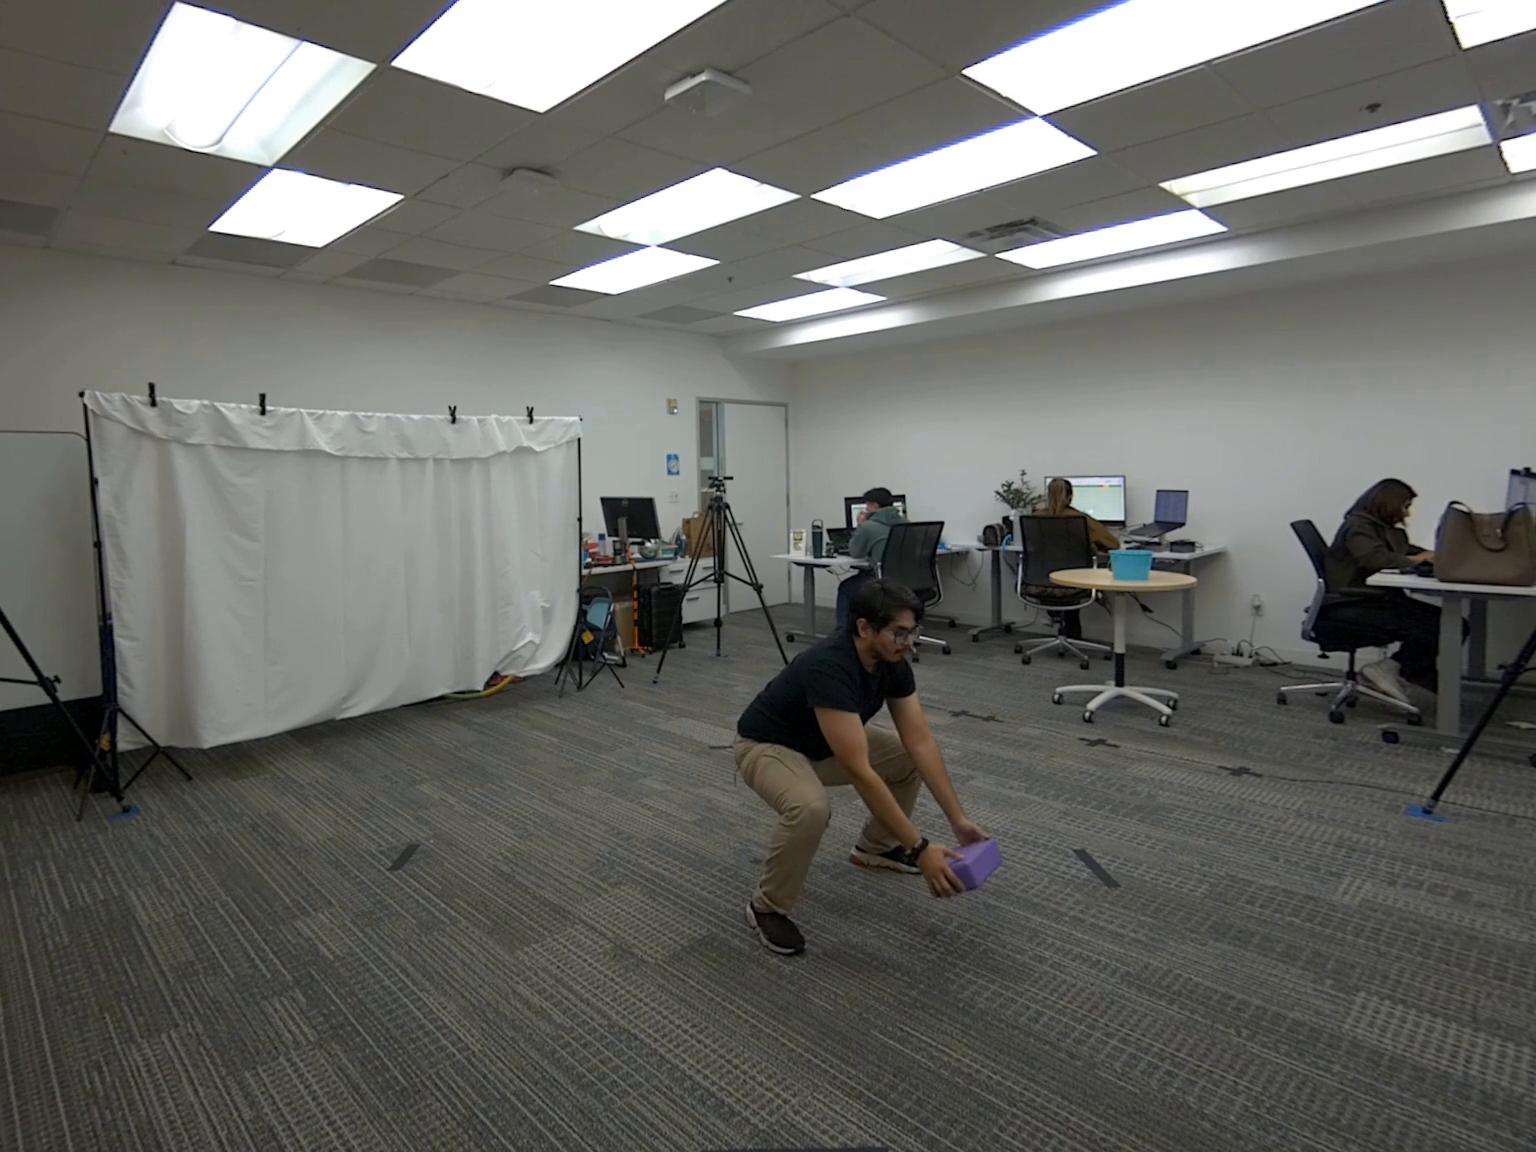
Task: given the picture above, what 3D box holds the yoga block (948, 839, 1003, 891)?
[{"bbox_3d":[0.562,0.842,2.489,0.151,0.077,0.224,-28,-11,33],"label":"yoga block"}]
